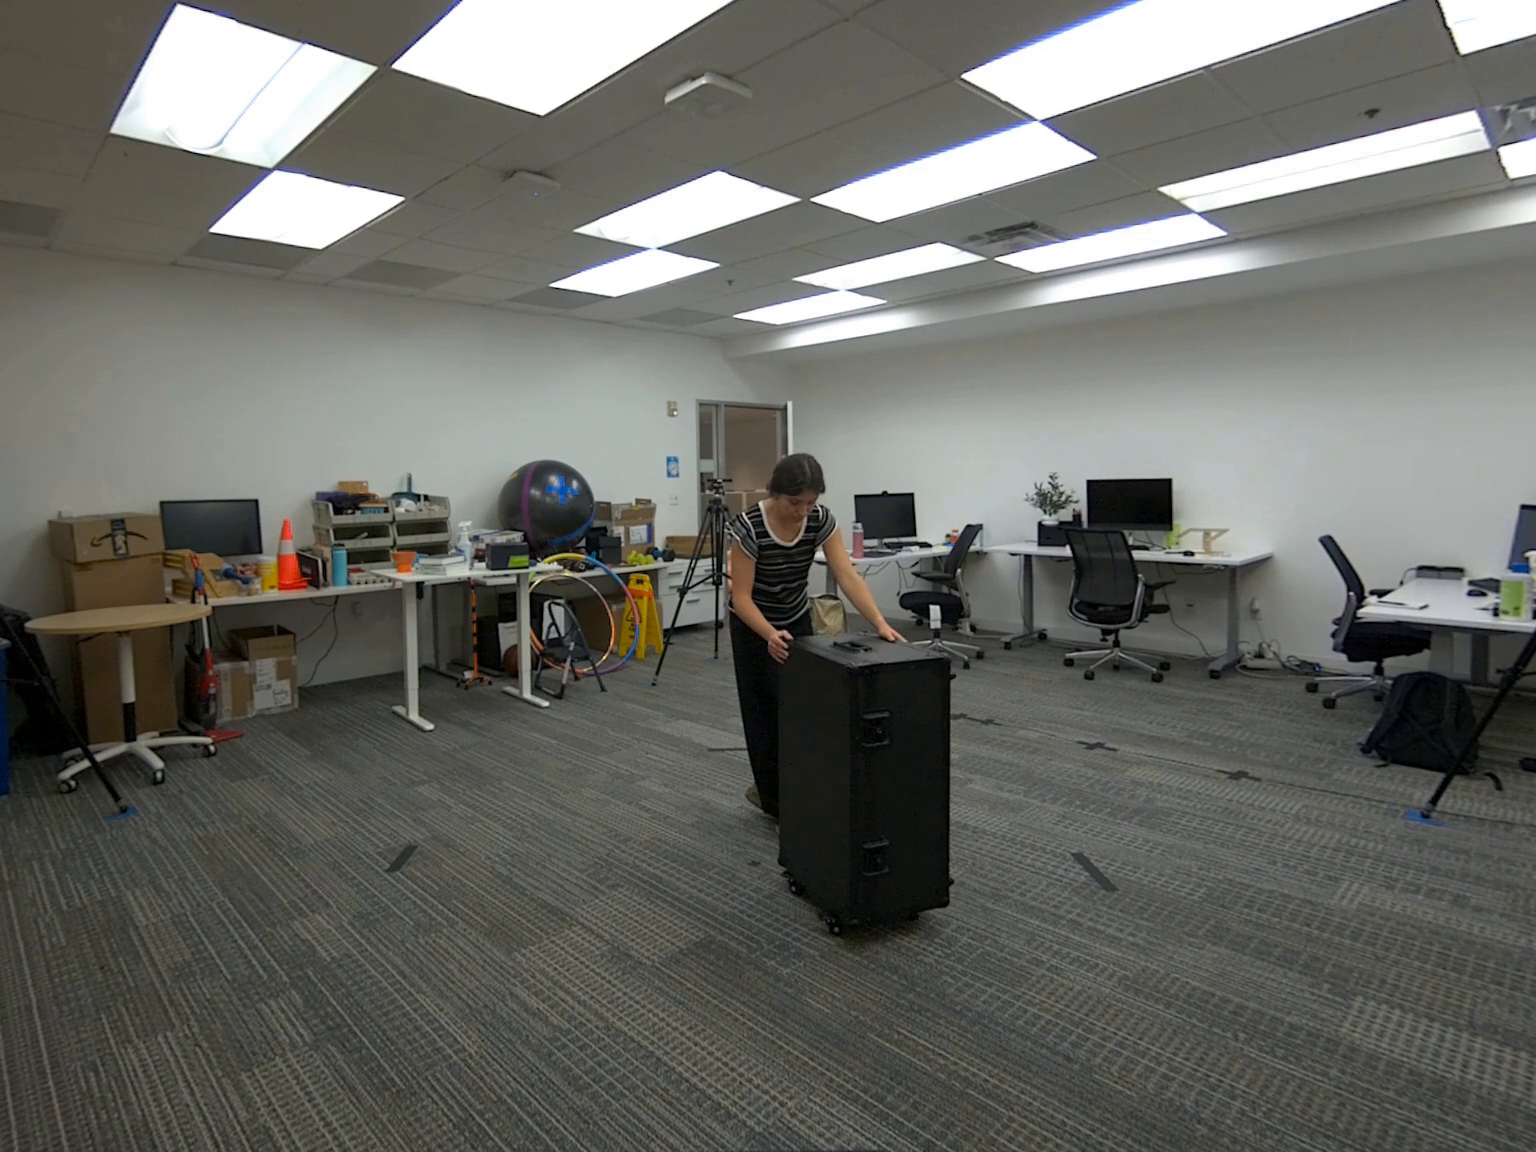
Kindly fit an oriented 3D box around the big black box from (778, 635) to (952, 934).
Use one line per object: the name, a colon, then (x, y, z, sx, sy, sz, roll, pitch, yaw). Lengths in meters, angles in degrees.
big black box: (0.305, 0.655, 2.779, 0.388, 0.859, 0.534, -1, 4, -24)
